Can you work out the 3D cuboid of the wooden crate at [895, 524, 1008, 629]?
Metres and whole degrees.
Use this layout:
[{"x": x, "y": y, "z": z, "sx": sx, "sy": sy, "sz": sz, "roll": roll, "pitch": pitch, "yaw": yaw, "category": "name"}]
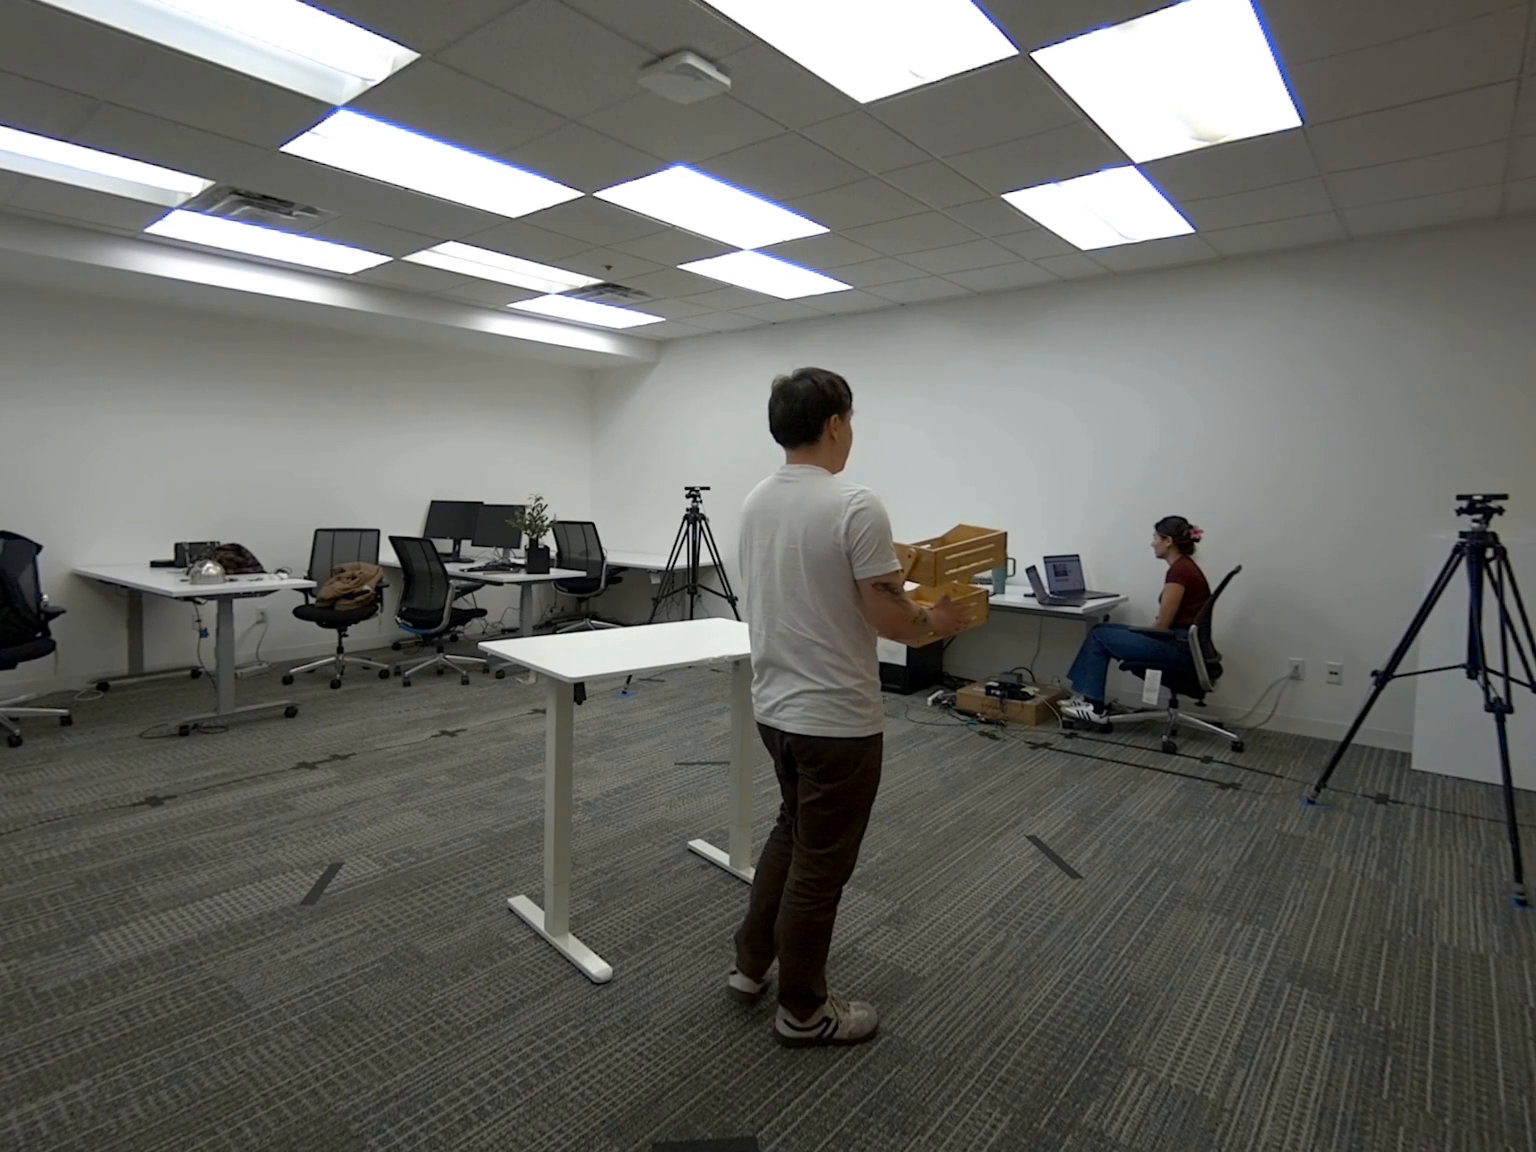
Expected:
[{"x": 0.414, "y": 0.005, "z": 2.263, "sx": 0.316, "sy": 0.270, "sz": 0.313, "roll": -13, "pitch": 18, "yaw": -38, "category": "wooden crate"}]
